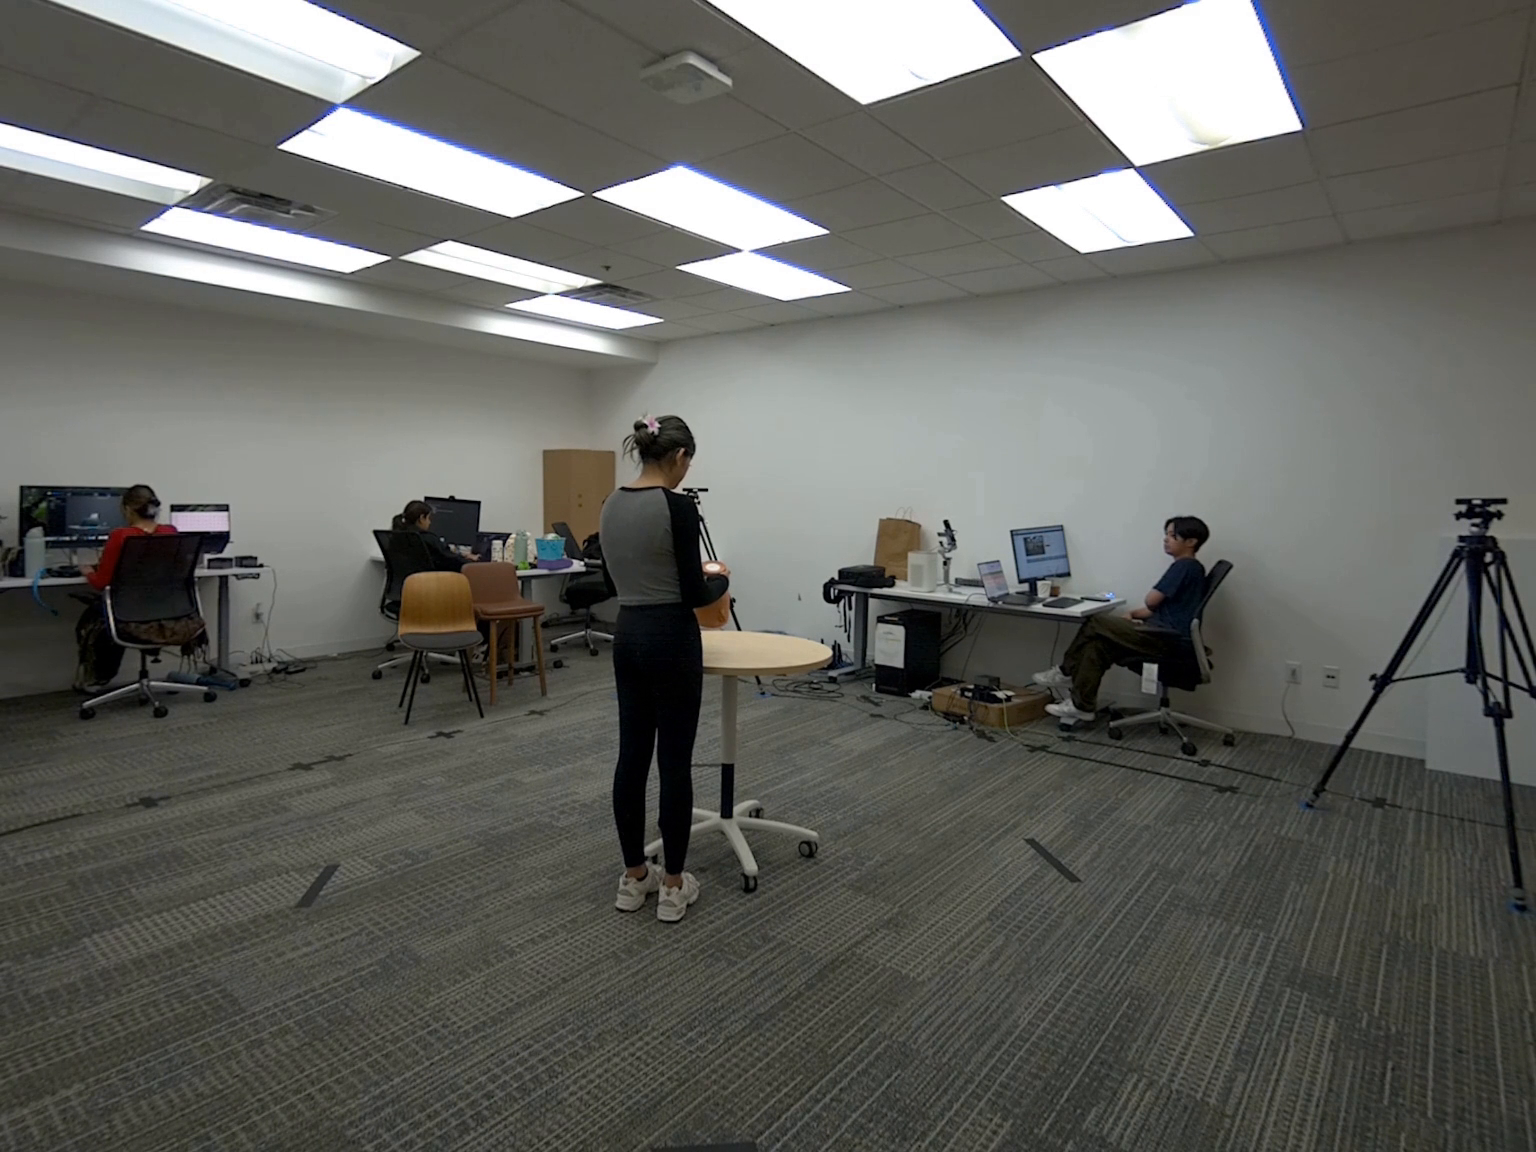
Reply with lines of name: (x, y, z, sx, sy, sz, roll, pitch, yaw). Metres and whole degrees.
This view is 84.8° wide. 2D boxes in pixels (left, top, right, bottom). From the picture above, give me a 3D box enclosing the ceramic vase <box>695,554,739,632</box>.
ceramic vase: (-0.212, 0.059, 3.089, 0.162, 0.215, 0.135, 12, 30, 16)
